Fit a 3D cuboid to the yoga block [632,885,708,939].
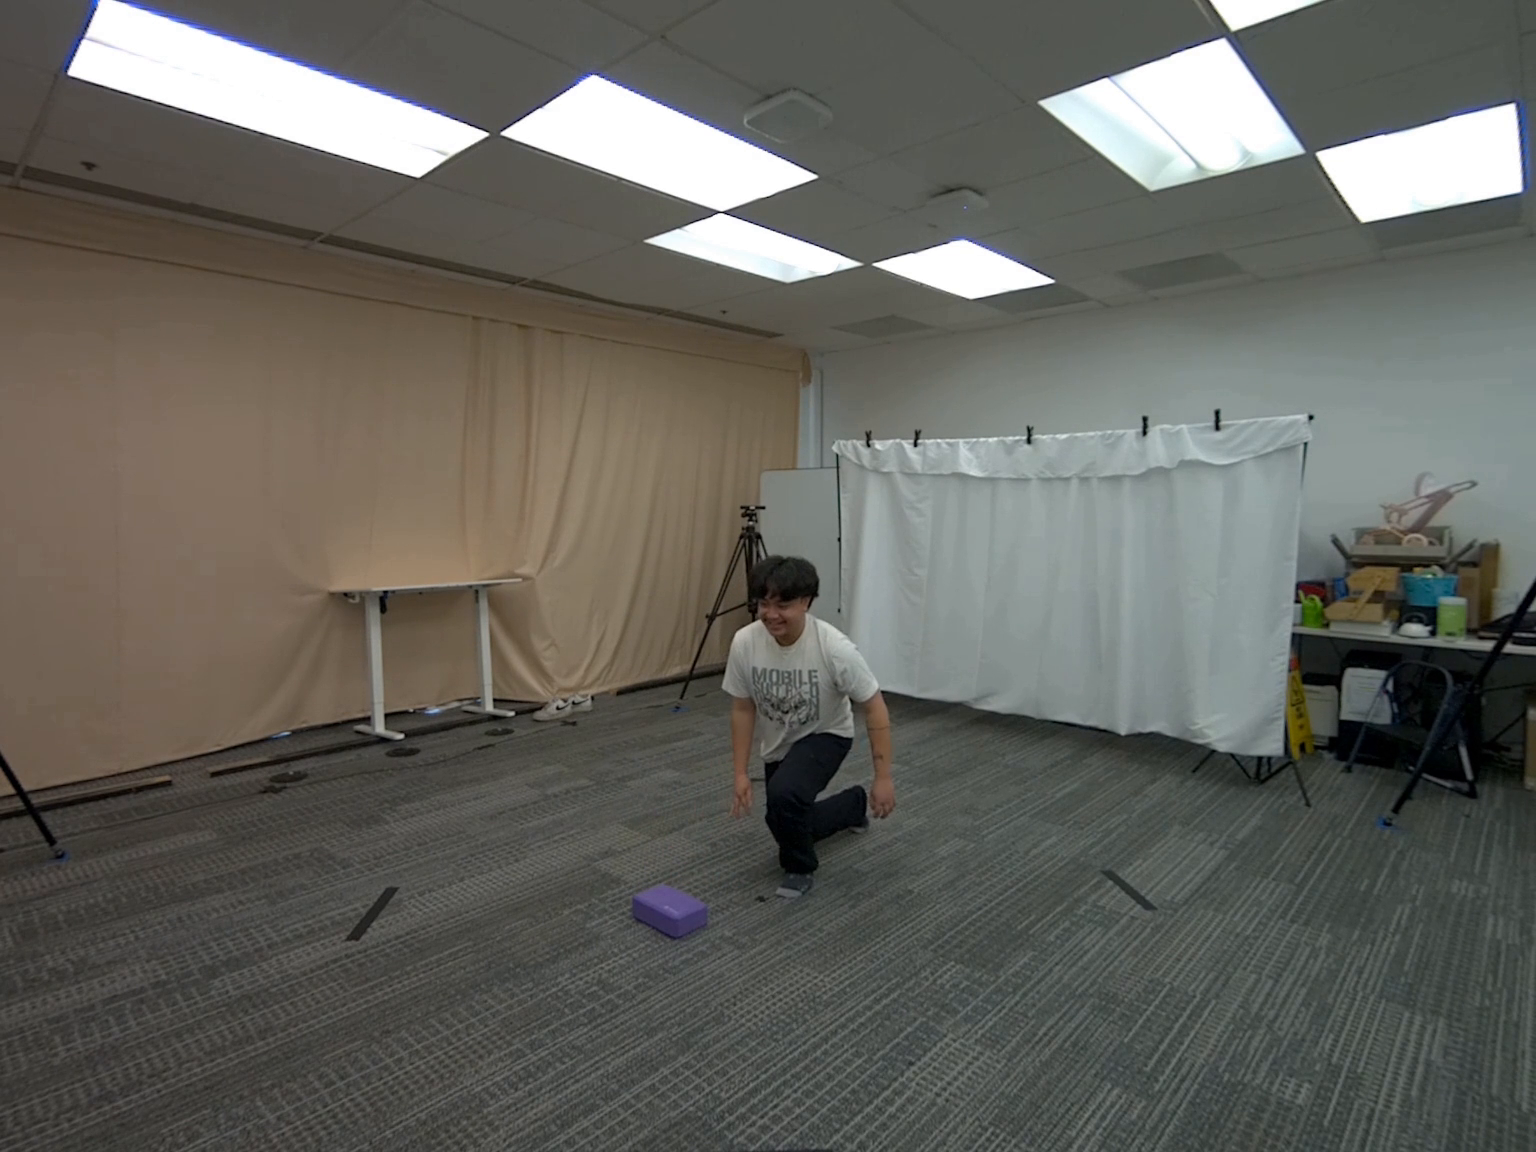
[{"bbox_3d":[-0.329,1.121,2.824,0.237,0.076,0.144,4,5,42],"label":"yoga block"}]
